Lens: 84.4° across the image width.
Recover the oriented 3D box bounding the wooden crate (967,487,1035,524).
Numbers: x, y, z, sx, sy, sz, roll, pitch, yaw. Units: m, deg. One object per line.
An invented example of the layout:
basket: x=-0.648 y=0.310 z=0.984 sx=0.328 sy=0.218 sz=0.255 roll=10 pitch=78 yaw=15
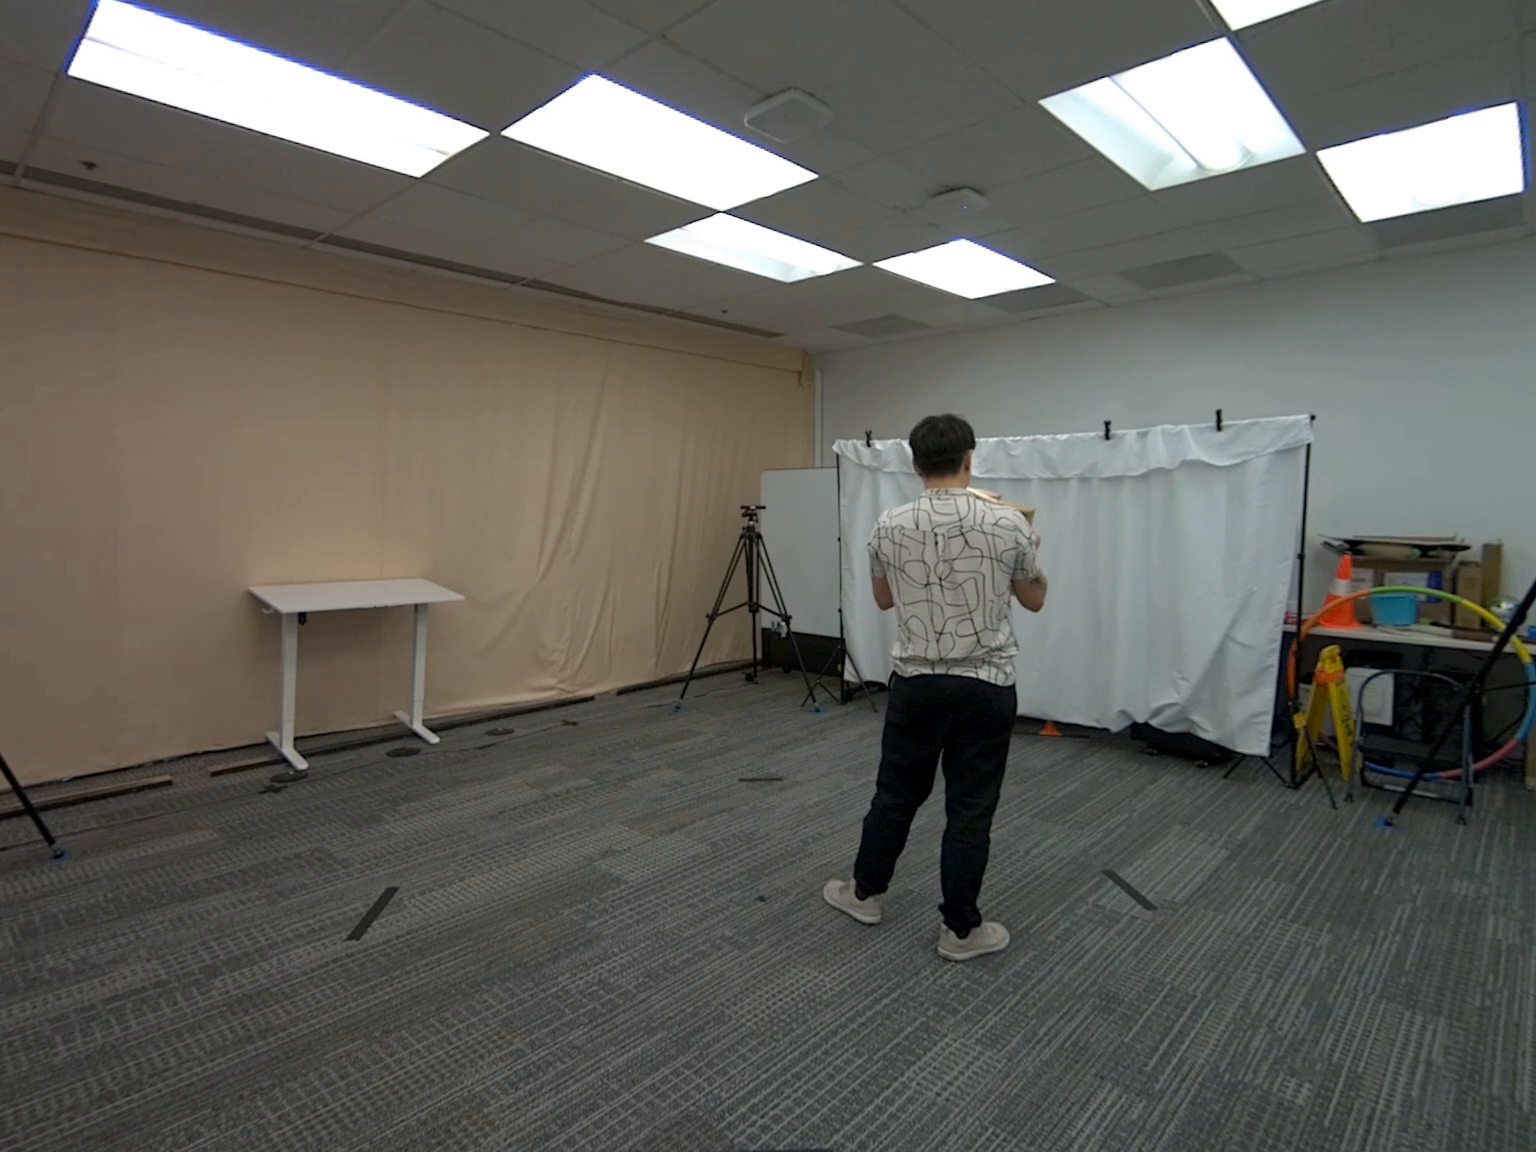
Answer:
wooden crate: x=0.758 y=-0.130 z=2.988 sx=0.305 sy=0.322 sz=0.273 roll=10 pitch=18 yaw=7
